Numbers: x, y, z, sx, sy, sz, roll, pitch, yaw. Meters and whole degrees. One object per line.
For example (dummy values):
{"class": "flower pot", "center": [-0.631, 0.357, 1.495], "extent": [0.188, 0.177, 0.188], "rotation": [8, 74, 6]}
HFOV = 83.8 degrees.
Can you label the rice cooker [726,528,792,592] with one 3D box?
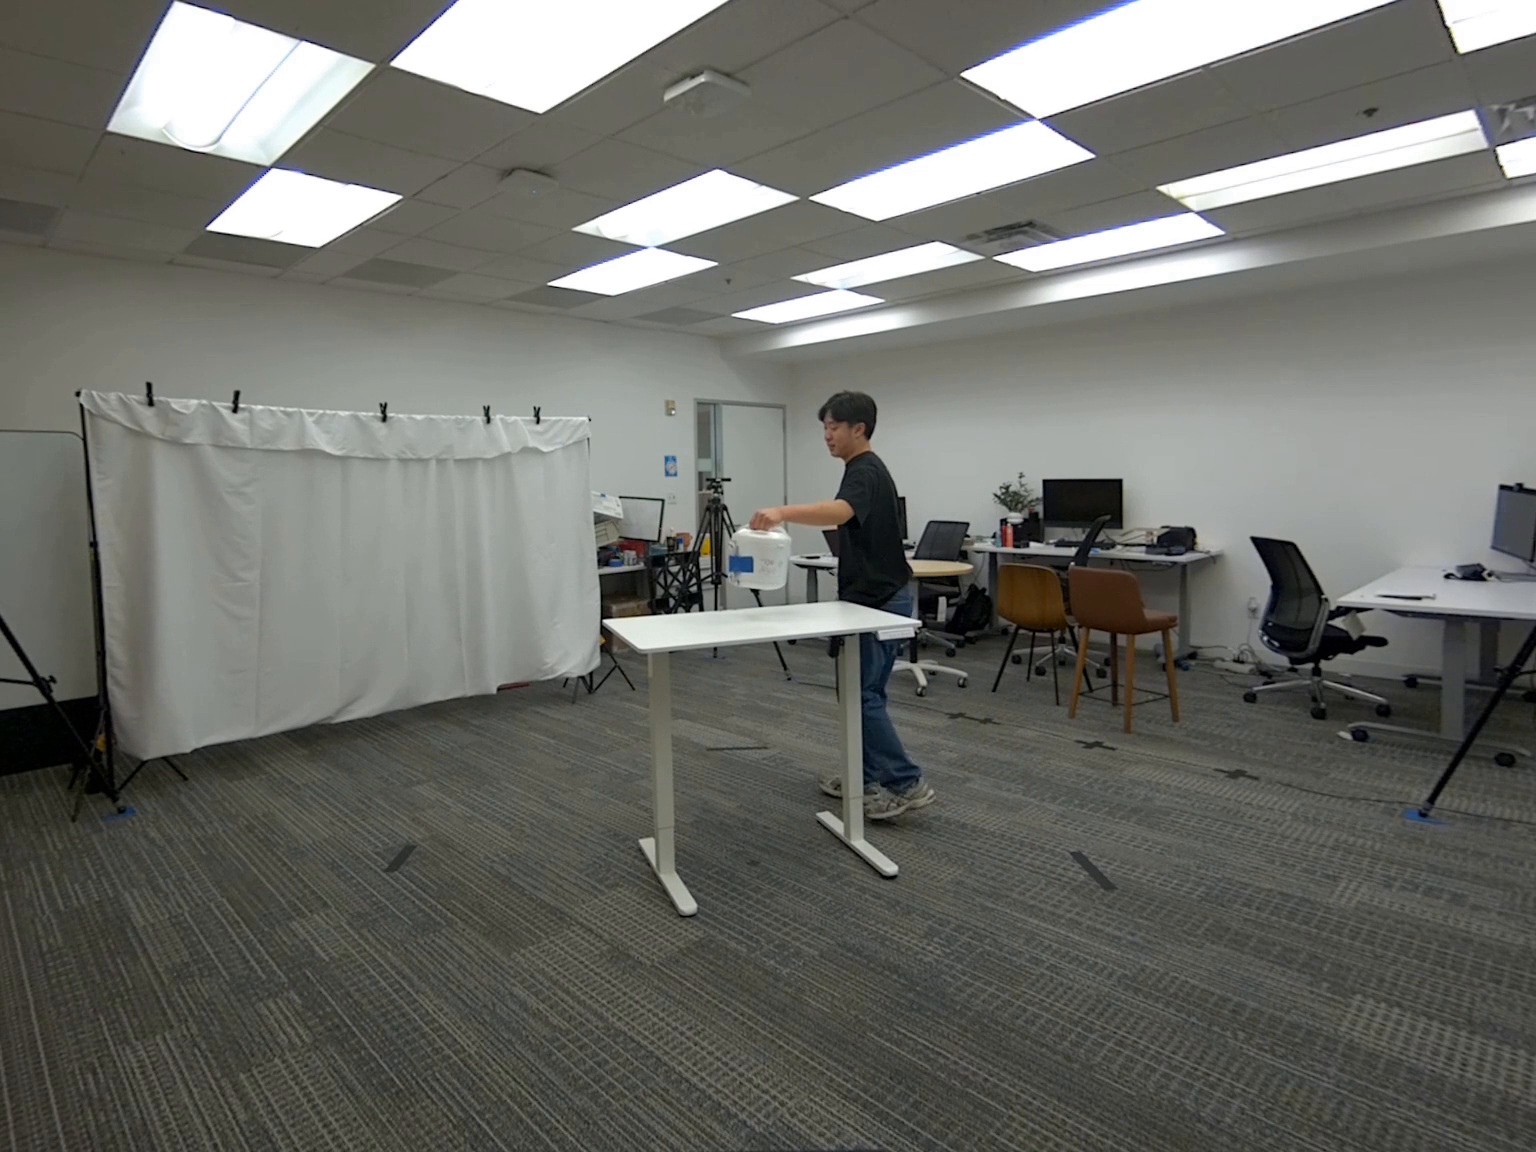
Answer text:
{"class": "rice cooker", "center": [-0.032, -0.074, 3.110], "extent": [0.223, 0.232, 0.215], "rotation": [7, 6, 12]}
